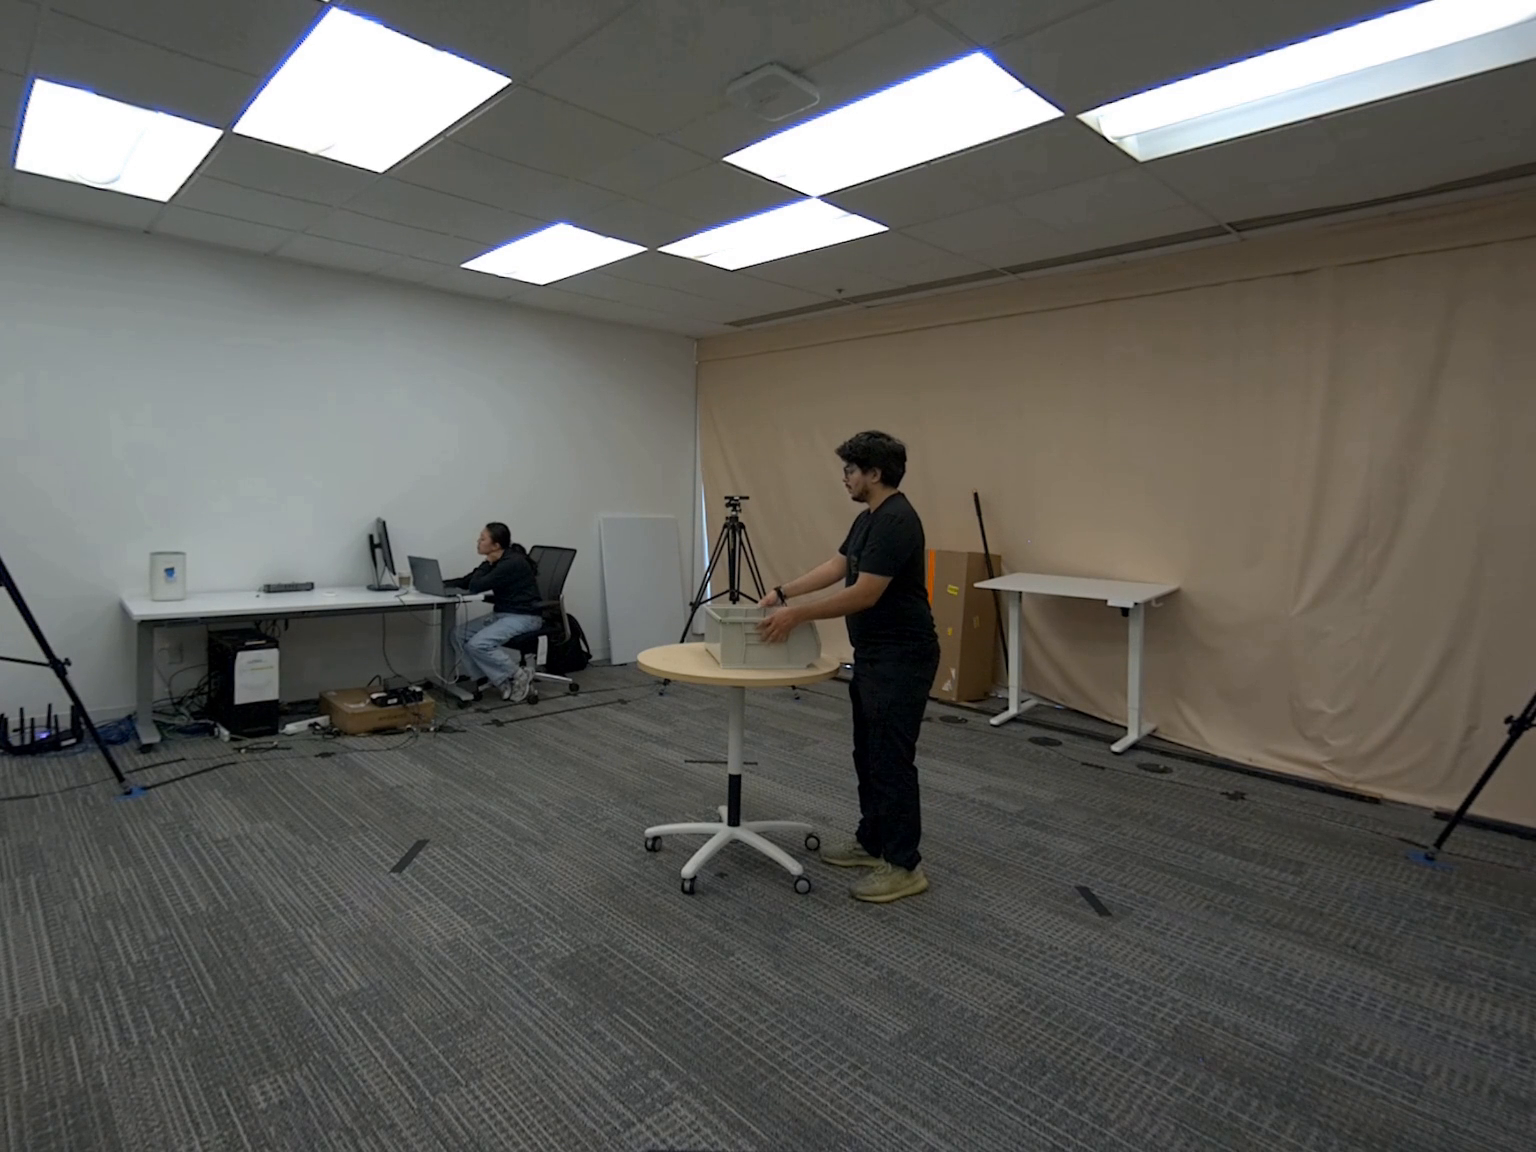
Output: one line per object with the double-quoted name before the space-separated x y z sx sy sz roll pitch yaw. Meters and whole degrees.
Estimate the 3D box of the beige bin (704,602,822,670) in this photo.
"beige bin" -0.043 0.218 3.198 0.374 0.188 0.428 -2 7 -11
